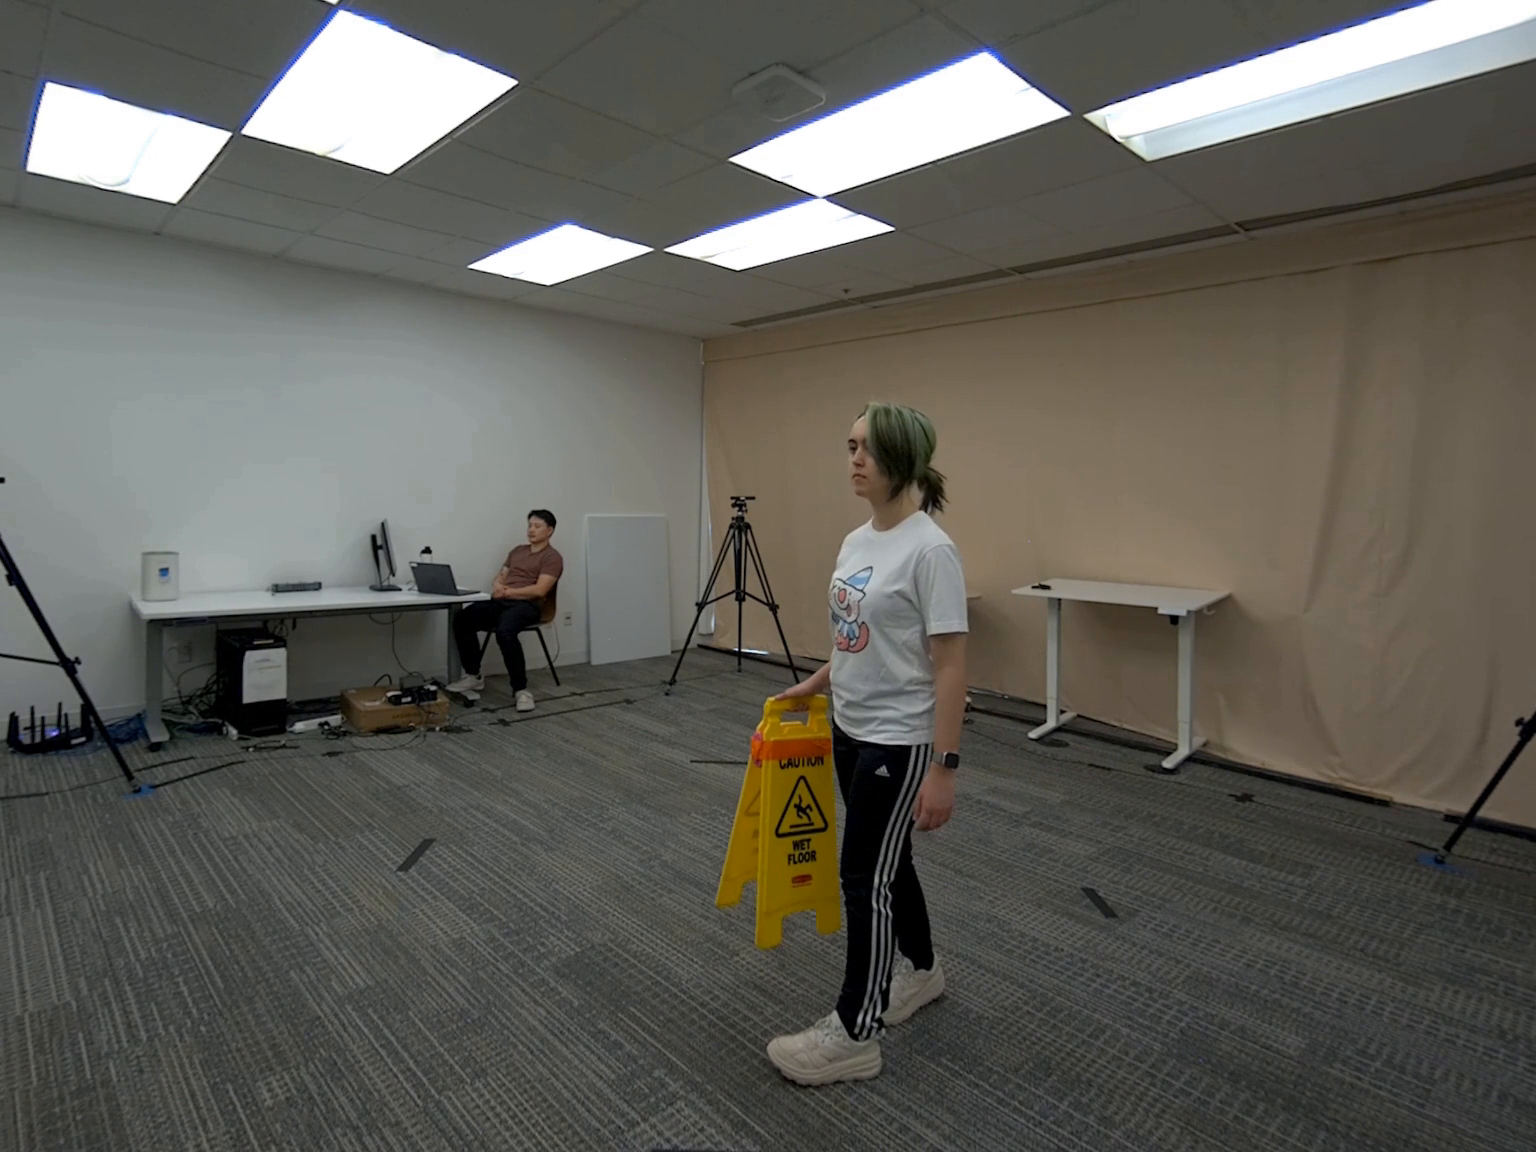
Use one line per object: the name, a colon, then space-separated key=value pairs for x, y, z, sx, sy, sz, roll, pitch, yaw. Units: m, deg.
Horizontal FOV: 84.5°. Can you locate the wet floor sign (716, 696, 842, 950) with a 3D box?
wet floor sign: x=0.045 y=0.664 z=2.389 sx=0.276 sy=0.645 sz=0.296 roll=4 pitch=2 yaw=-31
